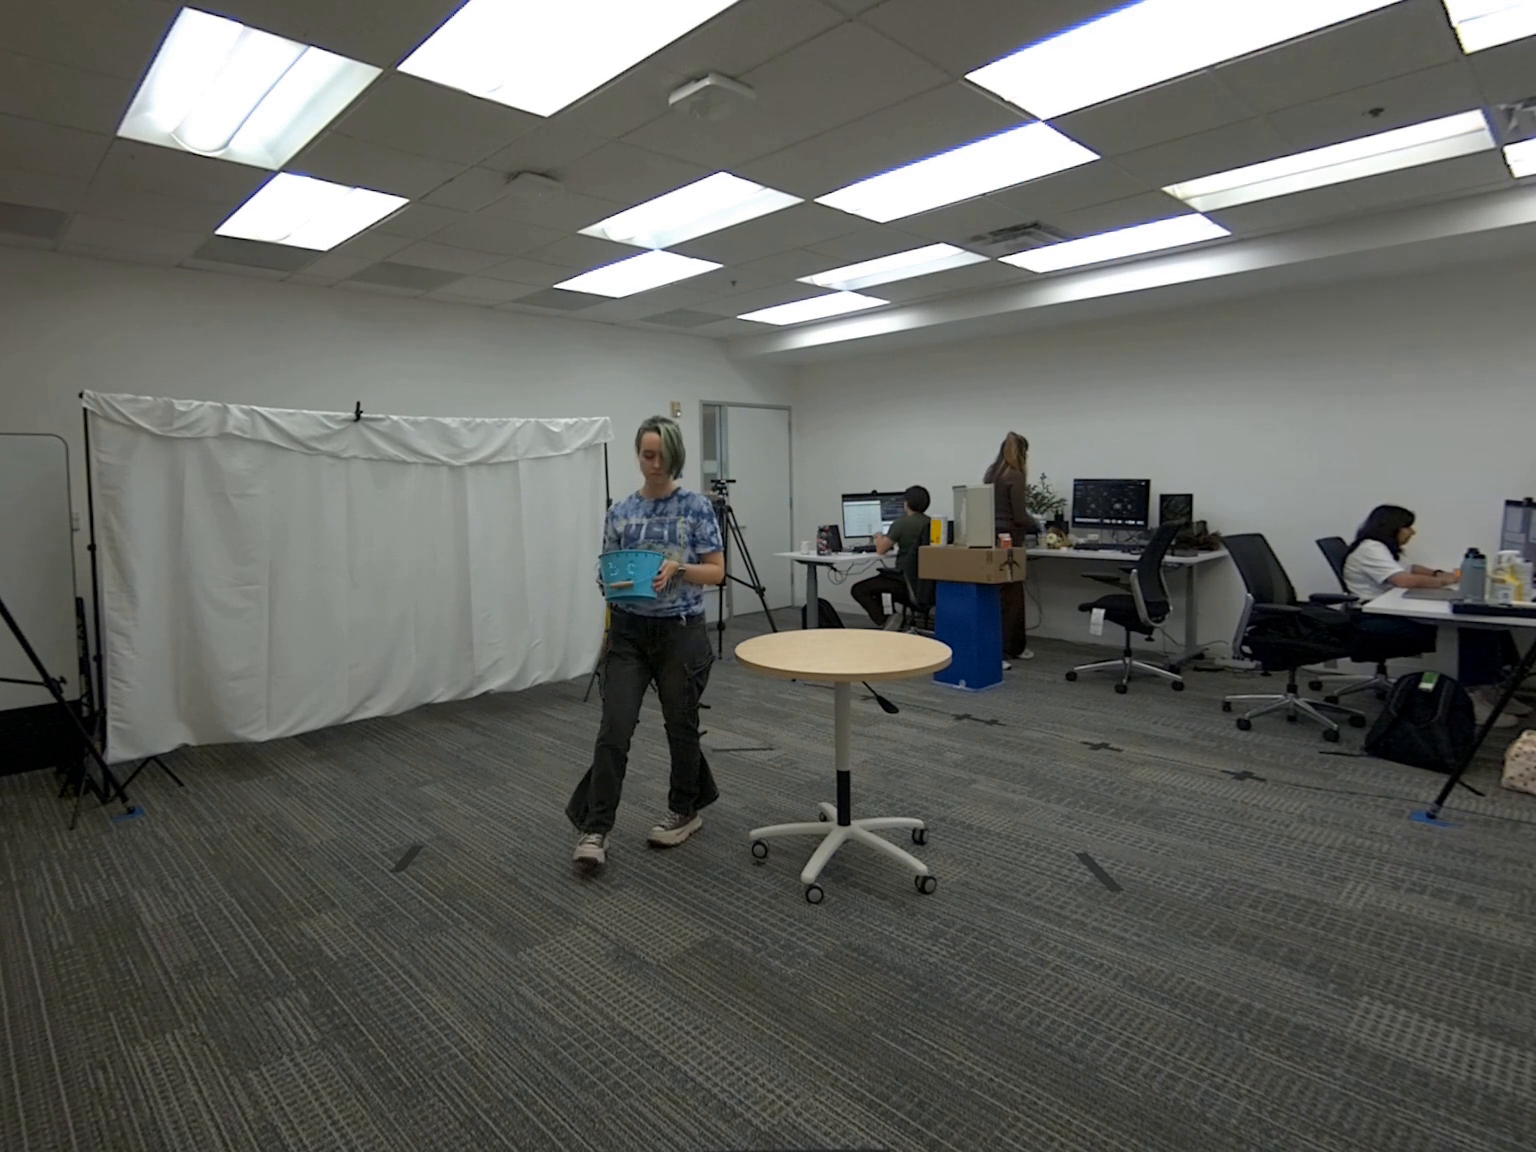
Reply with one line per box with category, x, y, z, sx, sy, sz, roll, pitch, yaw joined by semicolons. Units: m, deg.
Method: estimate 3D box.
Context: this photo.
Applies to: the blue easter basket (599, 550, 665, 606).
blue easter basket;-0.504;0.013;2.996;0.243;0.158;0.241;-2;-12;-2
